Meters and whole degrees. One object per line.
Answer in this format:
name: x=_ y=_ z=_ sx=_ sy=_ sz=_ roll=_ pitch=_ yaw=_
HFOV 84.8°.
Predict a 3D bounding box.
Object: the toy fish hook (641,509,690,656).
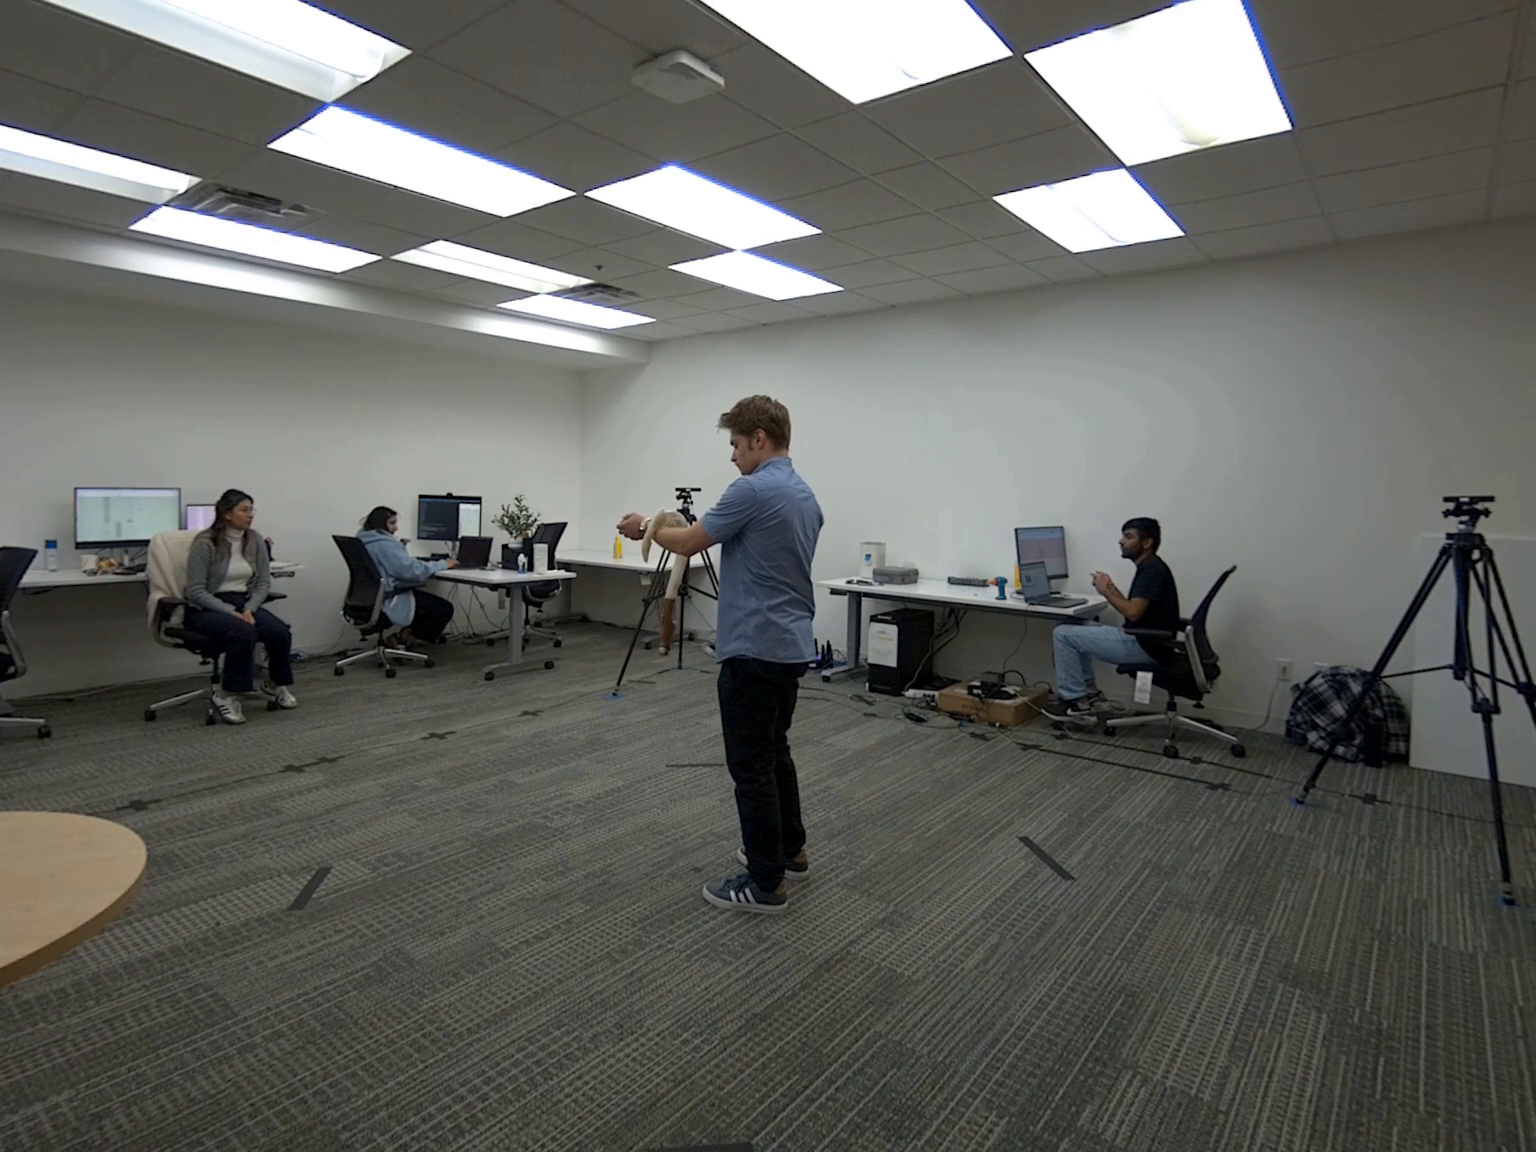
toy fish hook: x=-0.387 y=0.021 z=2.955 sx=0.216 sy=0.509 sz=0.050 roll=10 pitch=-8 yaw=-43
